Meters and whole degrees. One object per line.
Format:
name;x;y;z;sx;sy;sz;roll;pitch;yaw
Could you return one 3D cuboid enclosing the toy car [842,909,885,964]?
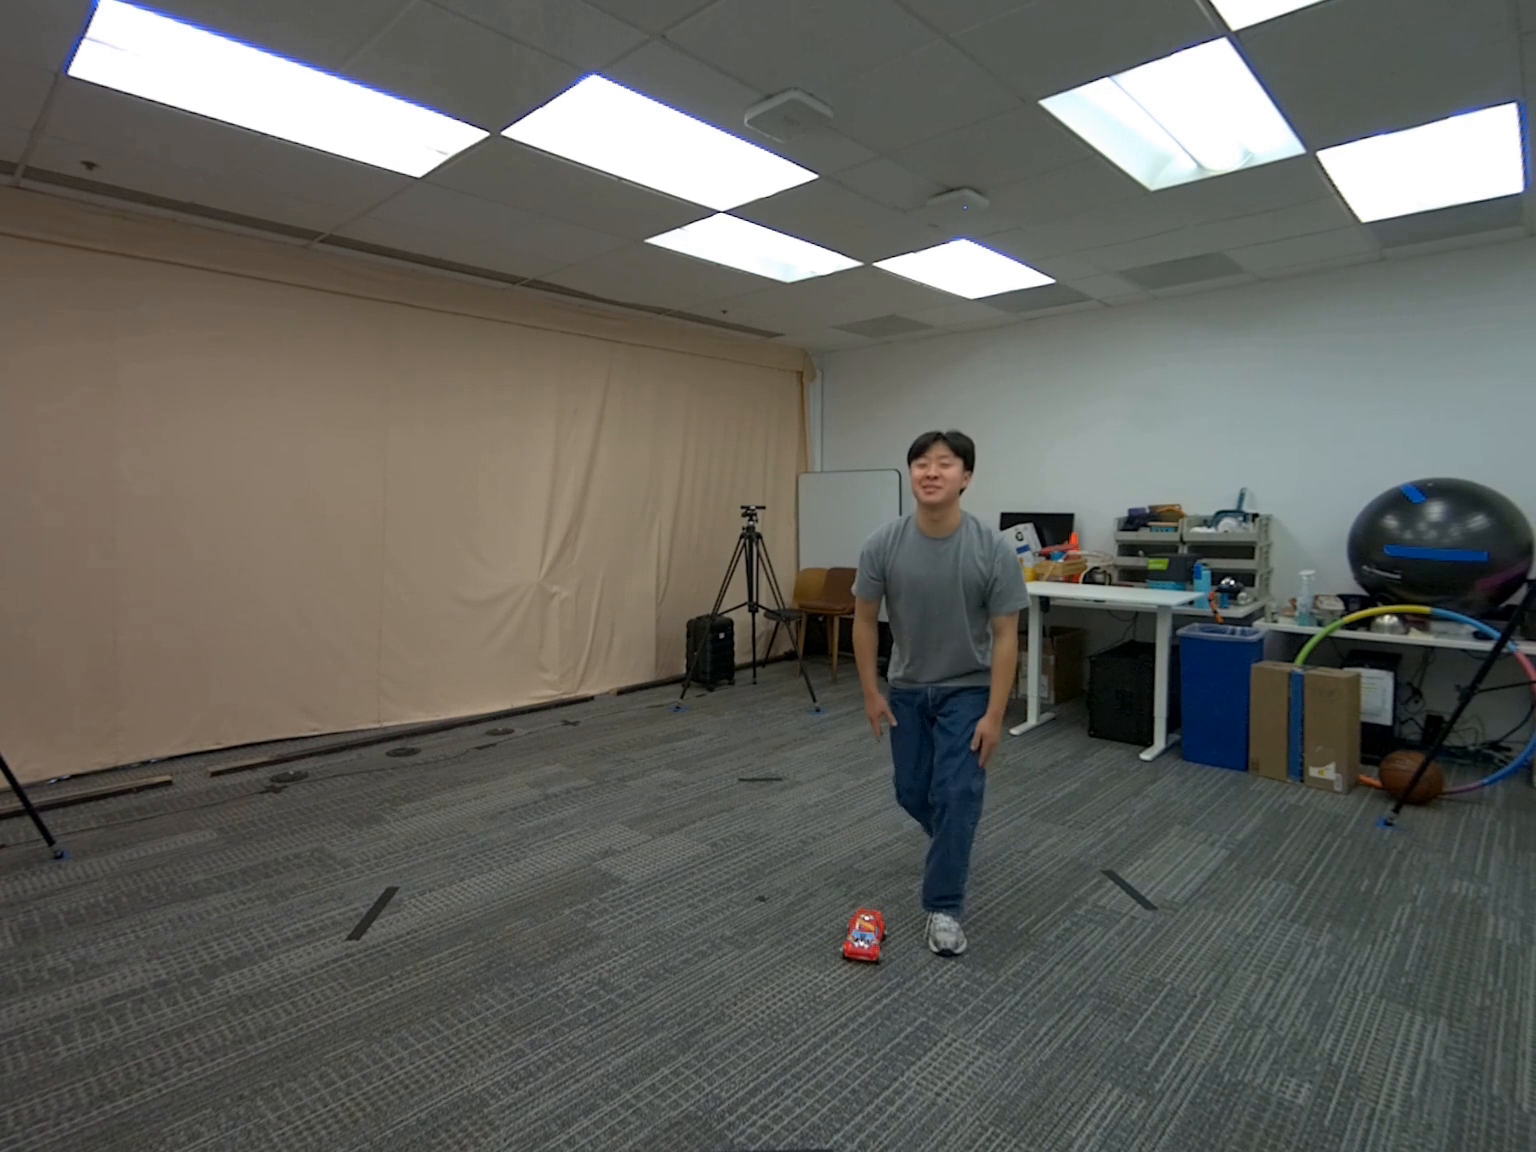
toy car;0.312;1.142;2.659;0.132;0.082;0.253;0;15;14
